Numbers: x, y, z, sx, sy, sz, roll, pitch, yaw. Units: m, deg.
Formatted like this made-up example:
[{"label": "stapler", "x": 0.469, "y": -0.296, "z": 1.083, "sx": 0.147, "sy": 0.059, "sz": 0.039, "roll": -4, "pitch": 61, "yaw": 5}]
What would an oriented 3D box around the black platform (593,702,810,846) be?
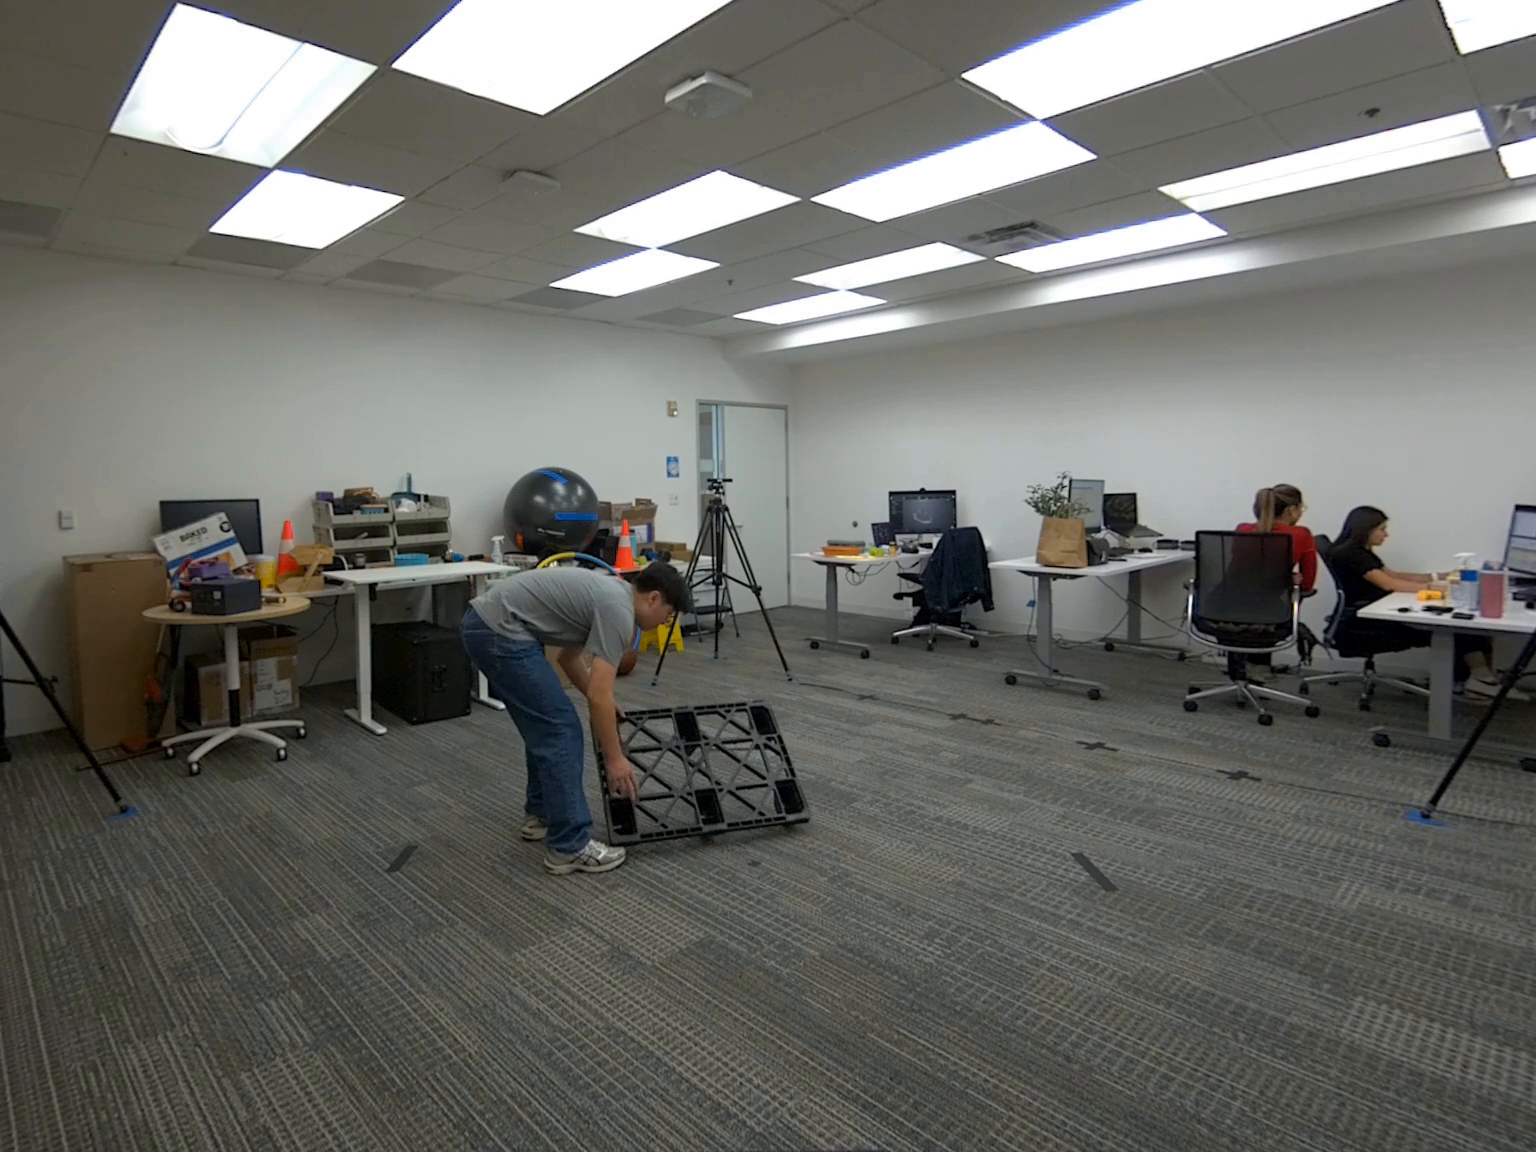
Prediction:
[{"label": "black platform", "x": -0.289, "y": 0.814, "z": 3.487, "sx": 0.792, "sy": 0.140, "sz": 0.627, "roll": -2, "pitch": 42, "yaw": -18}]
